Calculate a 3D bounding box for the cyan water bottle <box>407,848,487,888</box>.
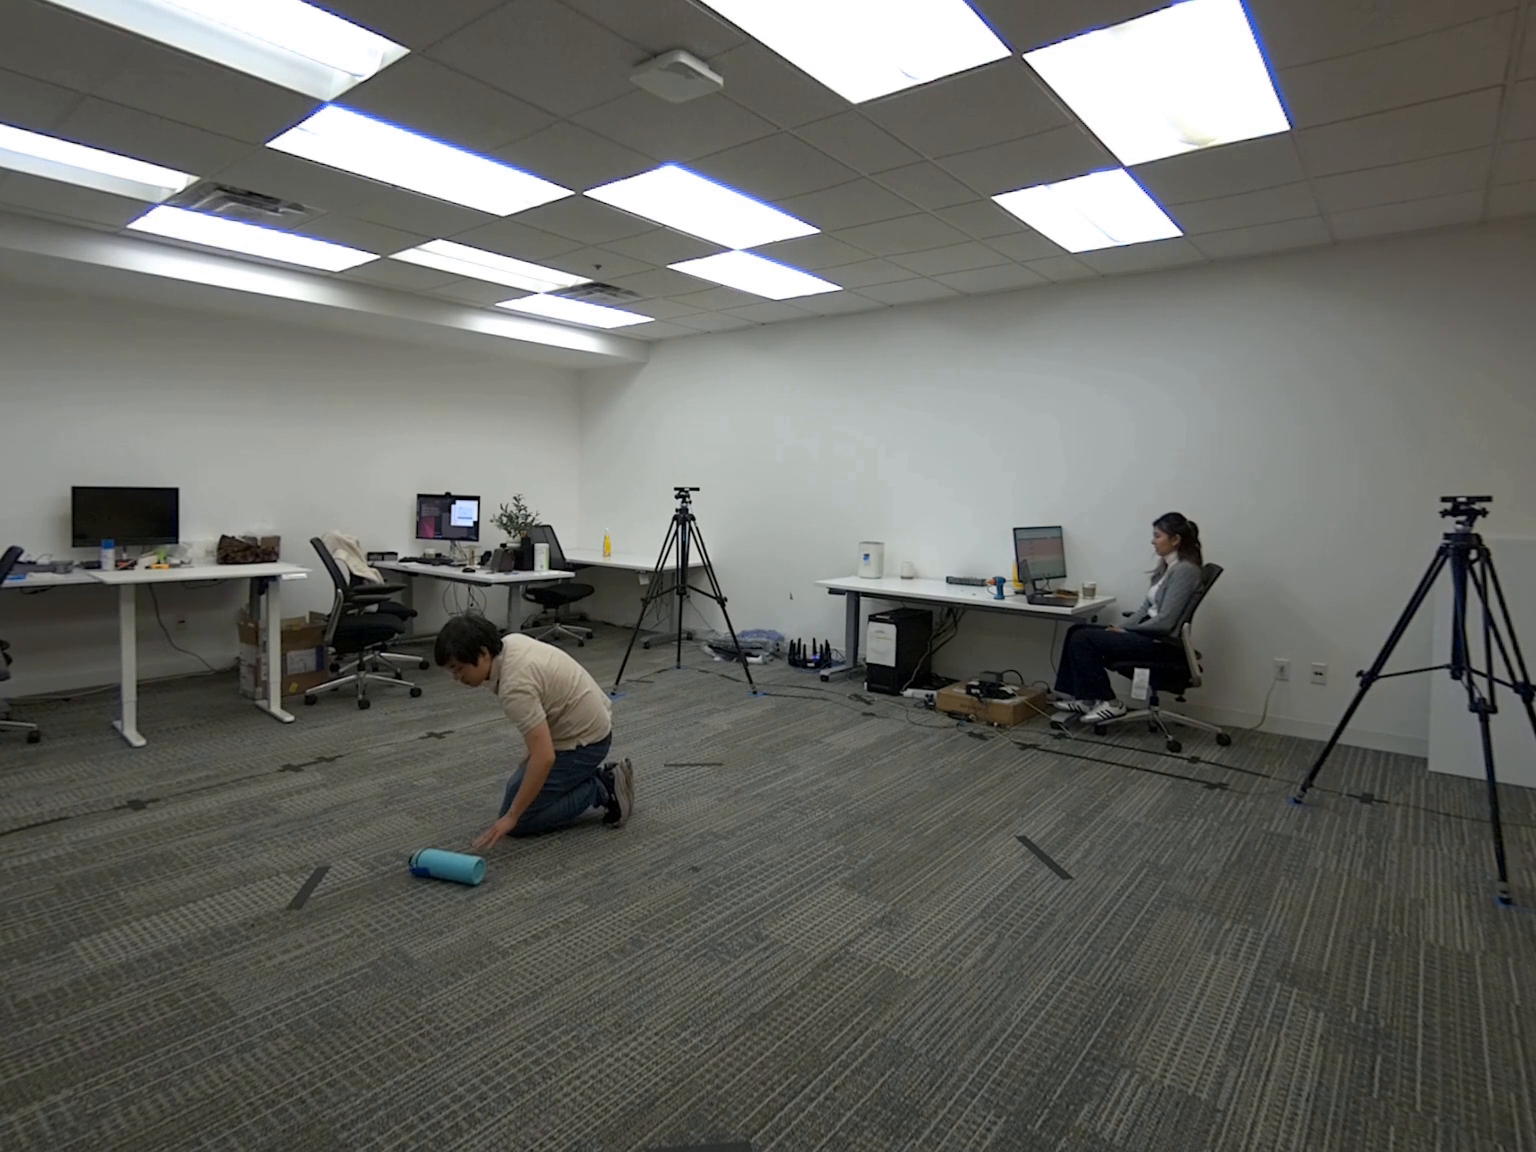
[{"bbox_3d":[-1.146,1.013,3.006,0.287,0.092,0.091,-1,4,14],"label":"cyan water bottle"}]
